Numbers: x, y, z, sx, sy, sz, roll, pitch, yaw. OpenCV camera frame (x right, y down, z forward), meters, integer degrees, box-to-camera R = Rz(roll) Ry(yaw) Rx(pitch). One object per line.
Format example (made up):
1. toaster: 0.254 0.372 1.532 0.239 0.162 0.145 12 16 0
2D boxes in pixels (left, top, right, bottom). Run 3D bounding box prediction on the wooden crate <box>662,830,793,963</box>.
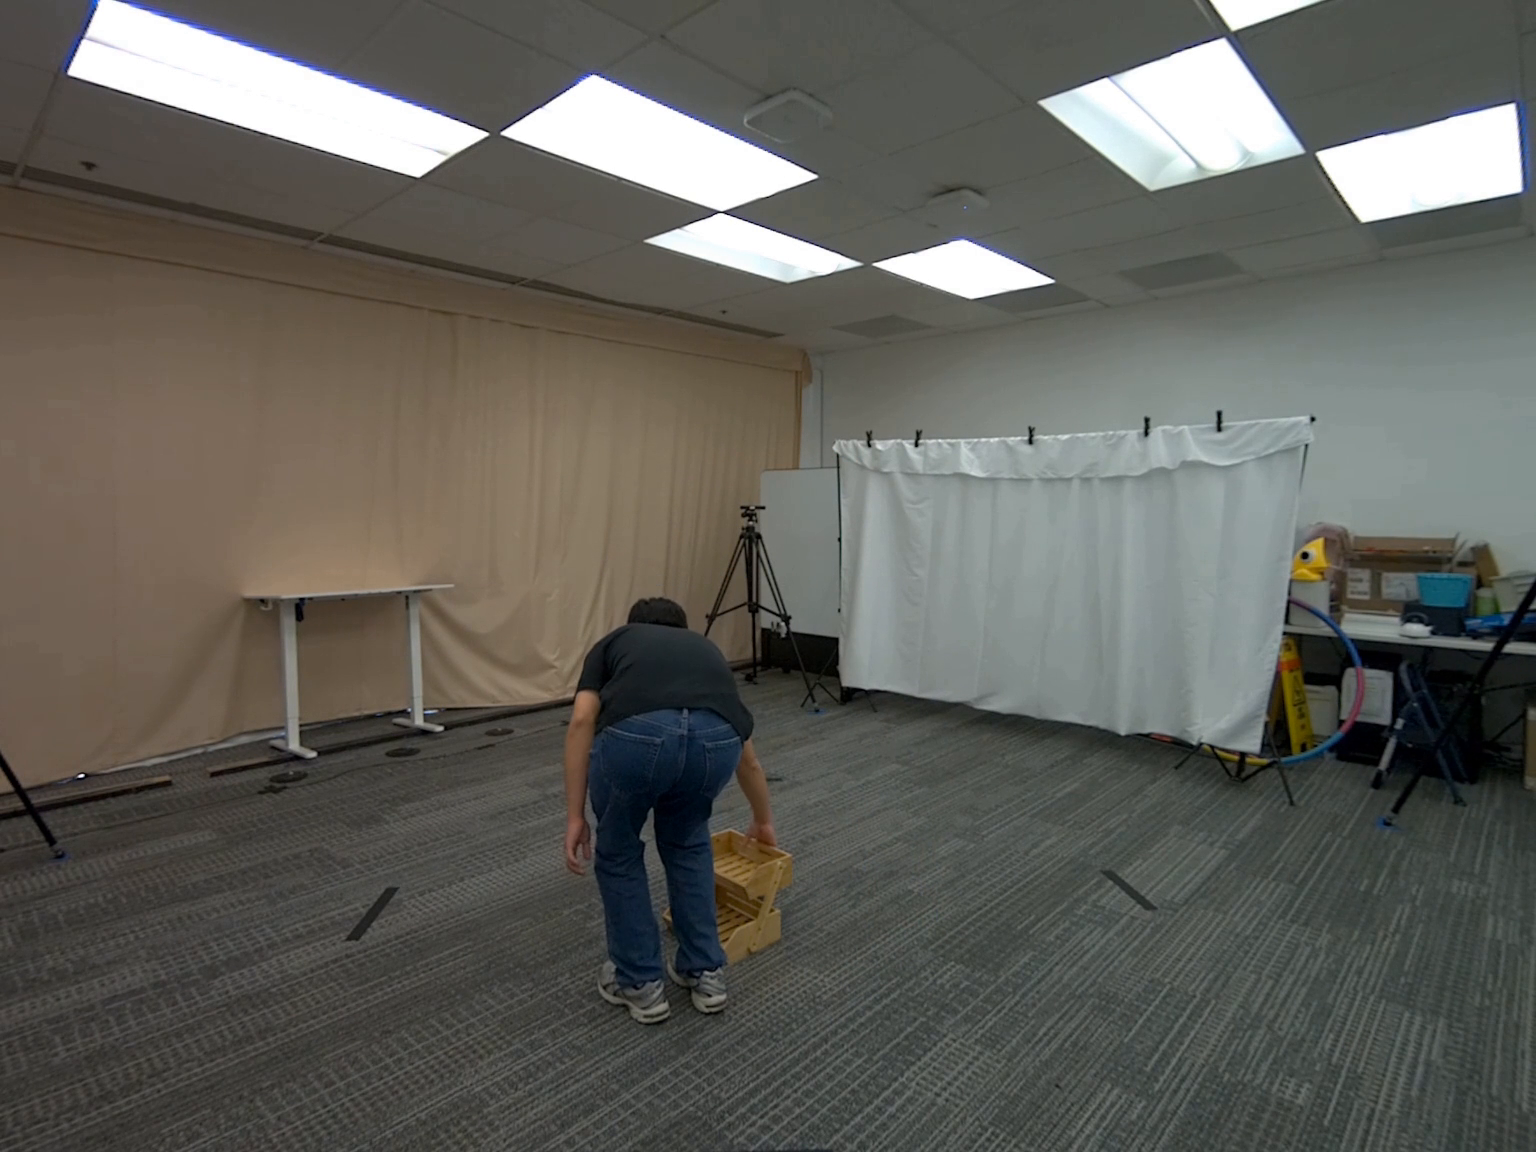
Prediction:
1. wooden crate: -0.132 1.032 2.747 0.293 0.273 0.335 -3 5 -43
